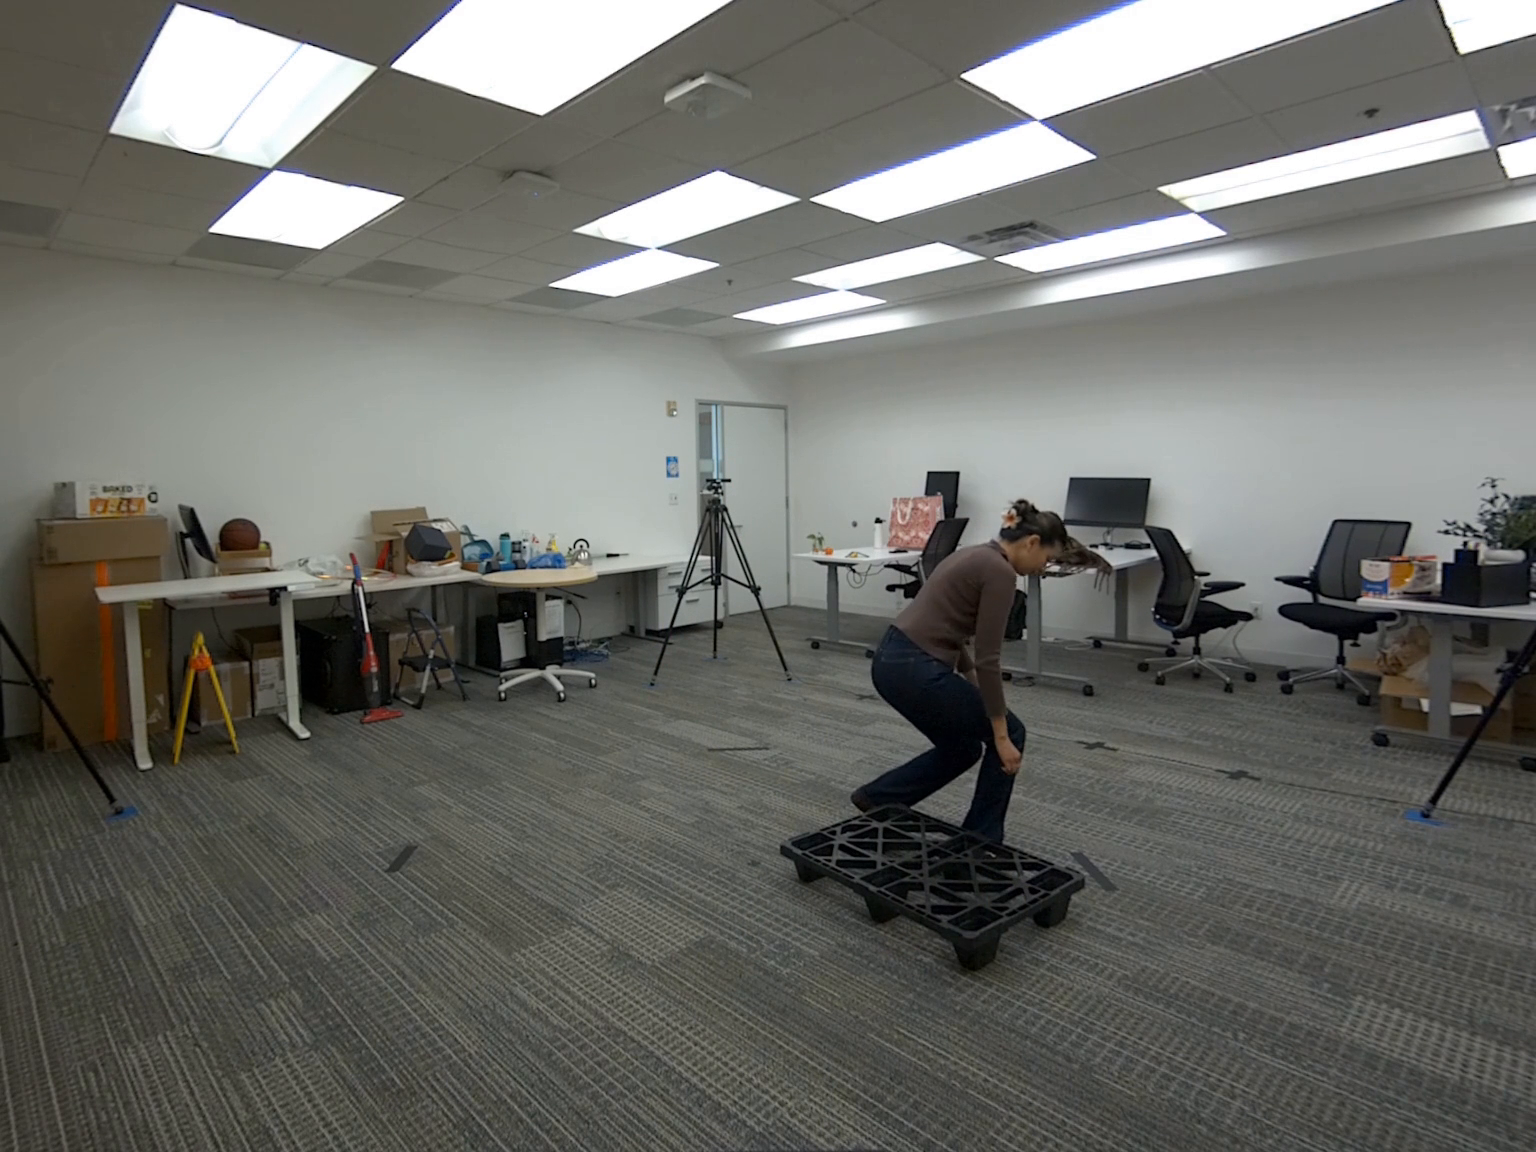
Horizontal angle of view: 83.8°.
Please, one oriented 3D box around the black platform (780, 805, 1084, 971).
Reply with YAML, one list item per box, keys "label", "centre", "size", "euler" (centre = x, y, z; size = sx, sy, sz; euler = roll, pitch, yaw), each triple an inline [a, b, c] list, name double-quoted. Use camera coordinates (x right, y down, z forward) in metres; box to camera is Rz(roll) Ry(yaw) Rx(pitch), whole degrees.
- label: "black platform"
  centre: [0.521, 1.002, 2.819]
  size: [0.590, 0.142, 0.830]
  euler: [-7, 8, -38]
